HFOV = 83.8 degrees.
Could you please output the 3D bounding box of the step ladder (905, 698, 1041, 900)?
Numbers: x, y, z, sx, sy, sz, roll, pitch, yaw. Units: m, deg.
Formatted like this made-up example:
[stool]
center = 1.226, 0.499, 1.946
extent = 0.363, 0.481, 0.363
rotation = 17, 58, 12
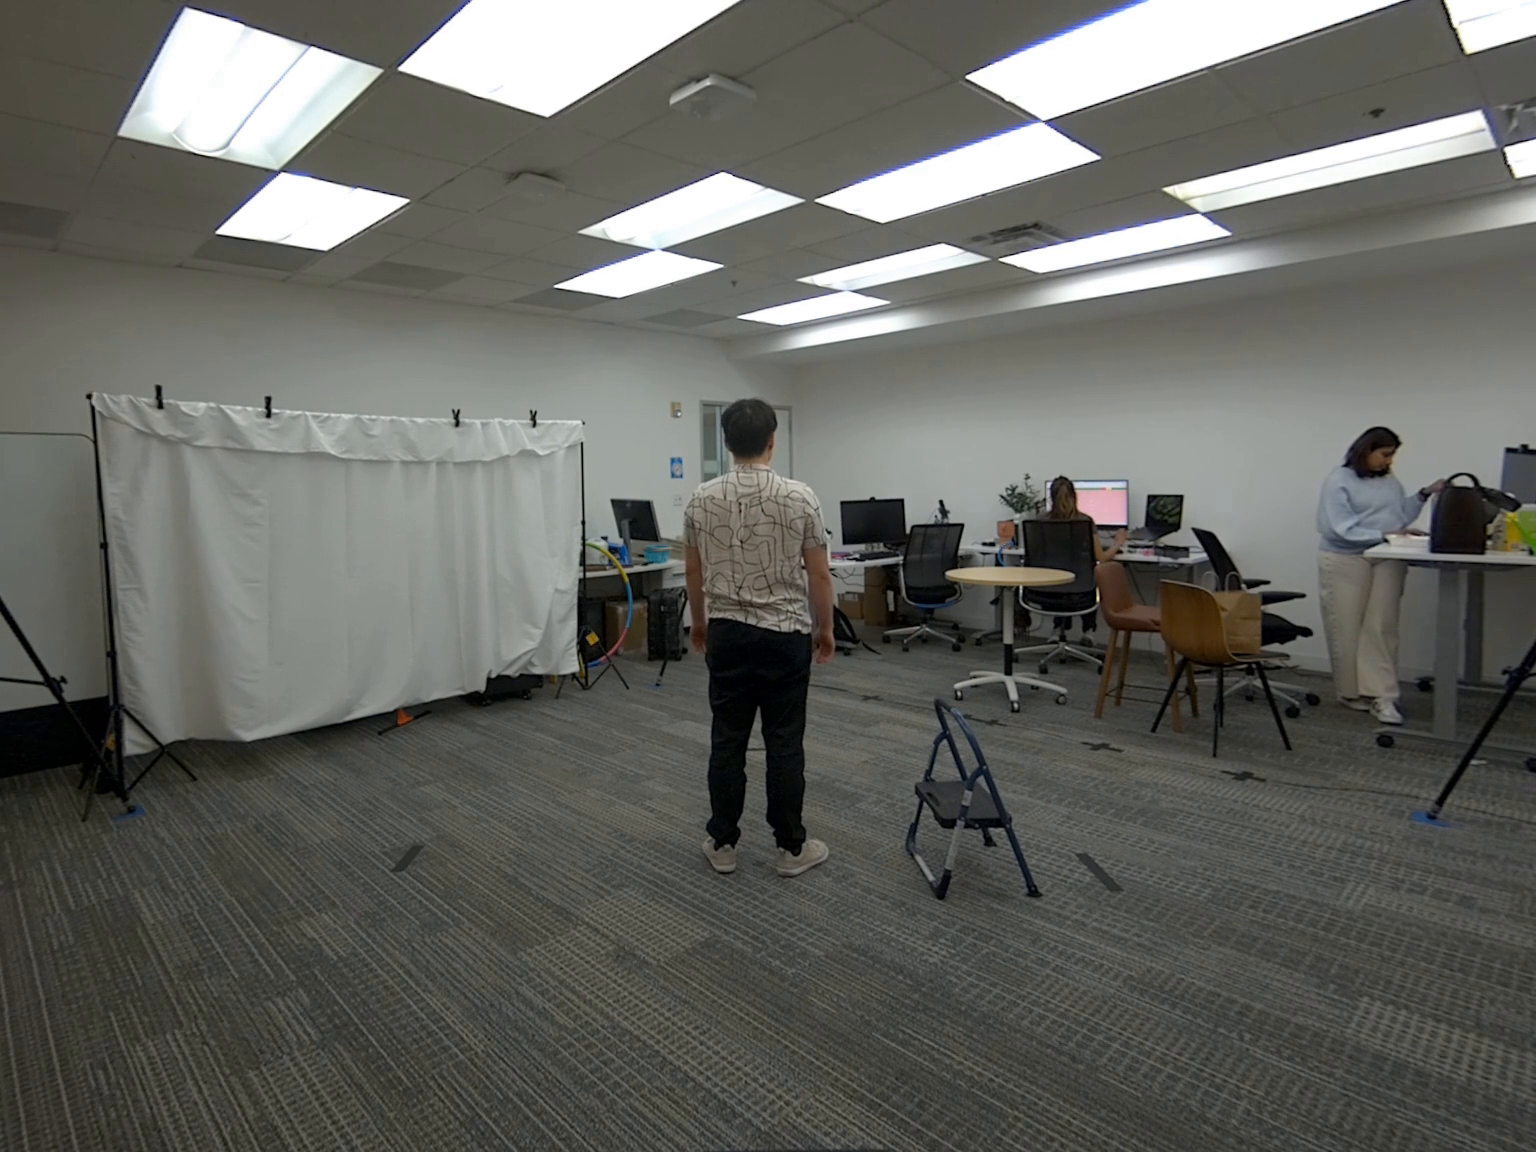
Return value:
[step ladder]
center = 0.709, 0.744, 3.010
extent = 0.348, 0.604, 0.434
rotation = -1, 4, -5
